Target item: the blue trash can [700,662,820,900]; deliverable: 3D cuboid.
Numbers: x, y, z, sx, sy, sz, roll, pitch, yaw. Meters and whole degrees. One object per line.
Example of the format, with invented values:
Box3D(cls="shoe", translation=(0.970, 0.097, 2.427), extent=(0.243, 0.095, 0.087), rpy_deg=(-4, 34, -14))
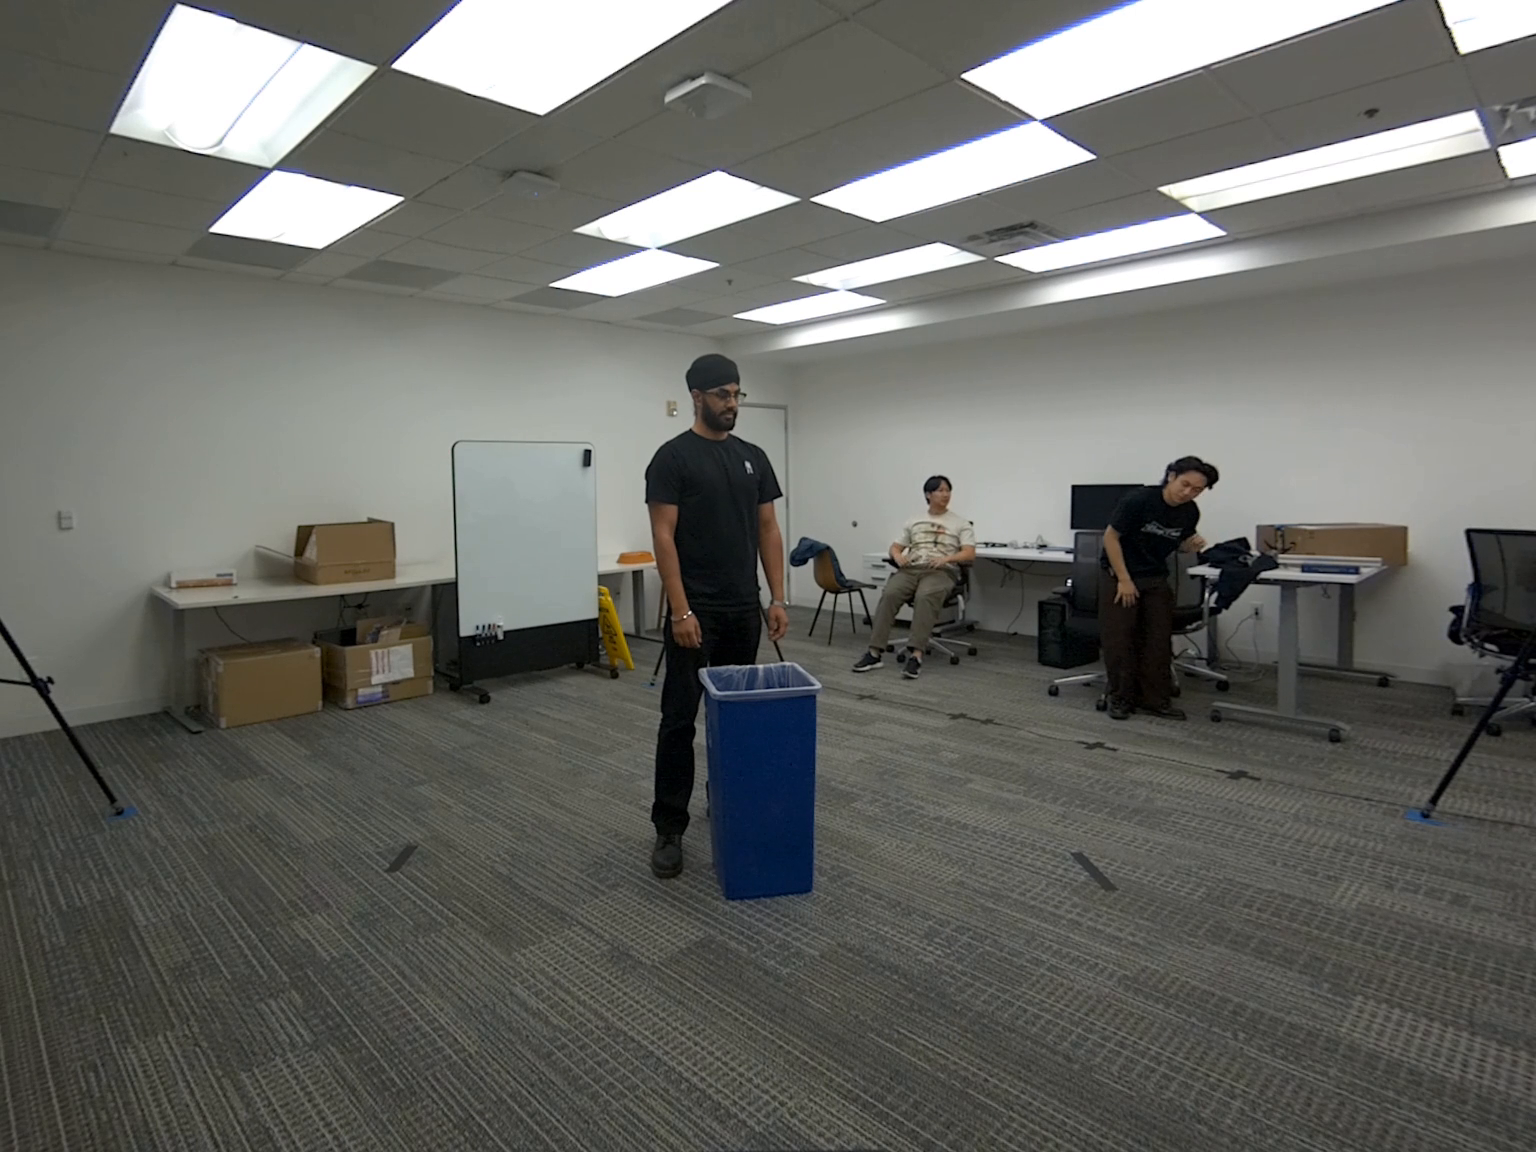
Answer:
Box3D(cls="blue trash can", translation=(-0.037, 0.698, 2.982), extent=(0.374, 0.710, 0.380), rpy_deg=(-2, 5, -11))
